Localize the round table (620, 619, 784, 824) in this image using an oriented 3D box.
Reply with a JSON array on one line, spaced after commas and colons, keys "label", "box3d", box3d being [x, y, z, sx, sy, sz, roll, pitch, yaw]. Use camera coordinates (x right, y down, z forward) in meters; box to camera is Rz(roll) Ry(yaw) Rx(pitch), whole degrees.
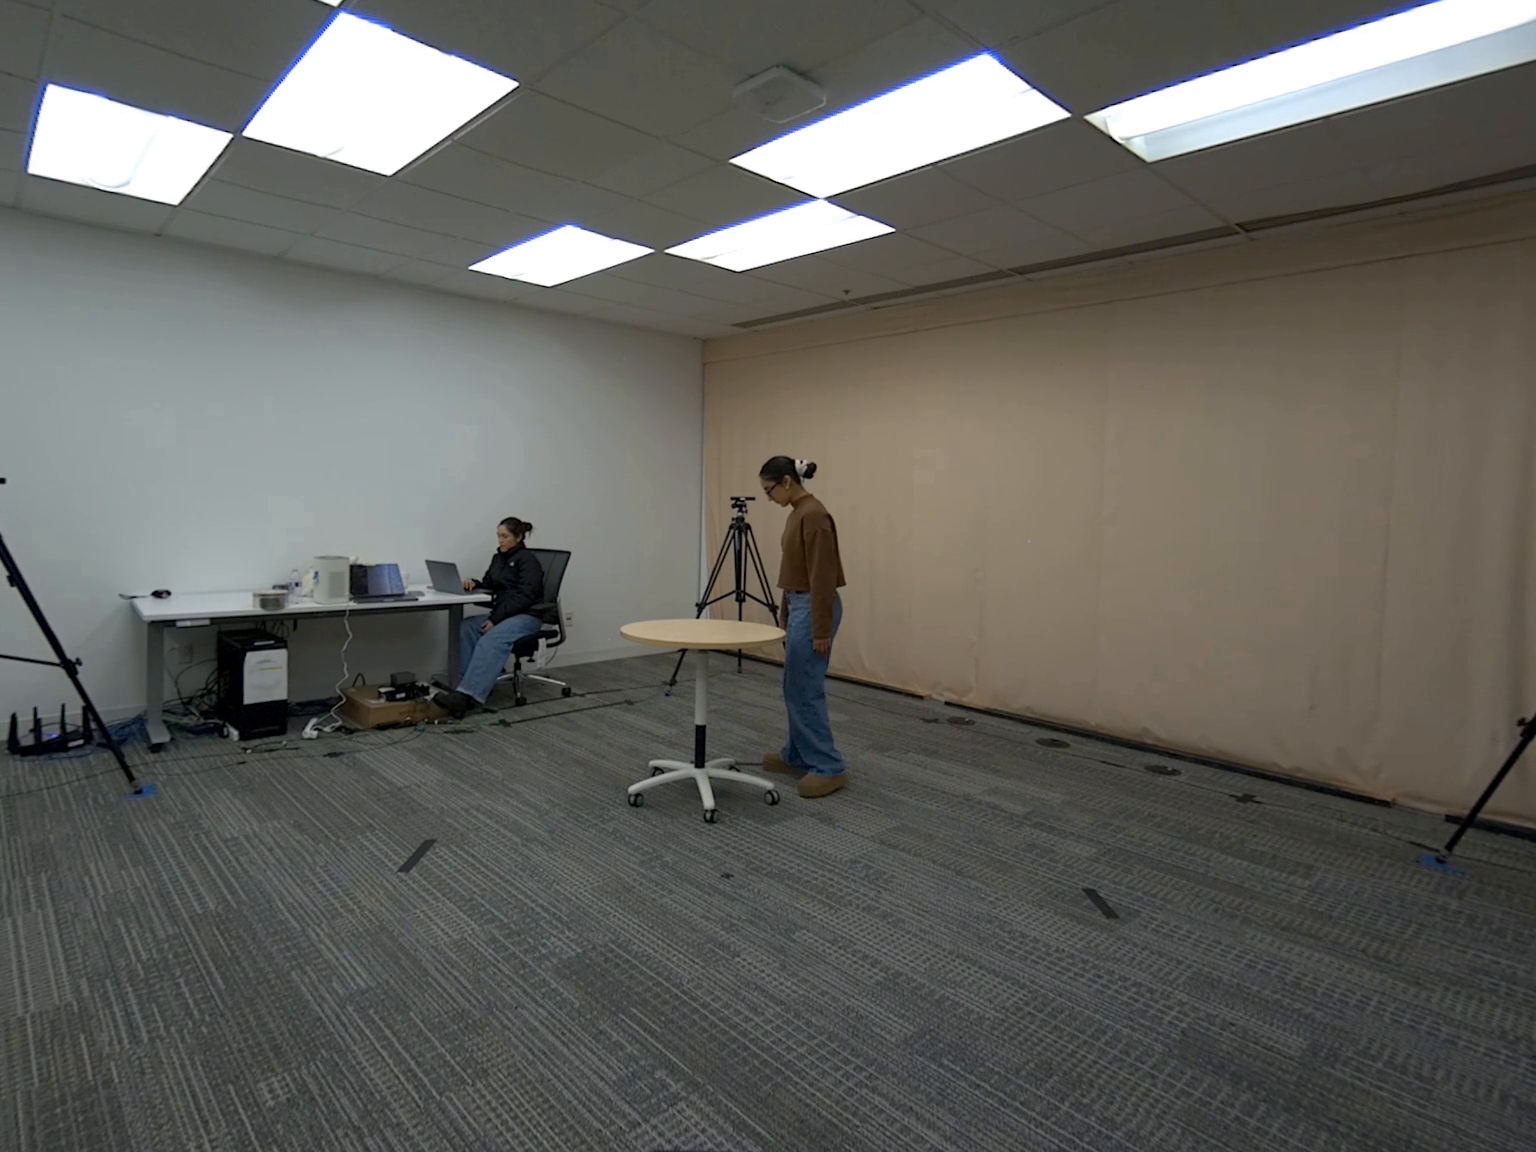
[{"label": "round table", "box3d": [-0.325, 0.643, 3.915, 0.763, 0.792, 0.766, 1, 3, -1]}]
